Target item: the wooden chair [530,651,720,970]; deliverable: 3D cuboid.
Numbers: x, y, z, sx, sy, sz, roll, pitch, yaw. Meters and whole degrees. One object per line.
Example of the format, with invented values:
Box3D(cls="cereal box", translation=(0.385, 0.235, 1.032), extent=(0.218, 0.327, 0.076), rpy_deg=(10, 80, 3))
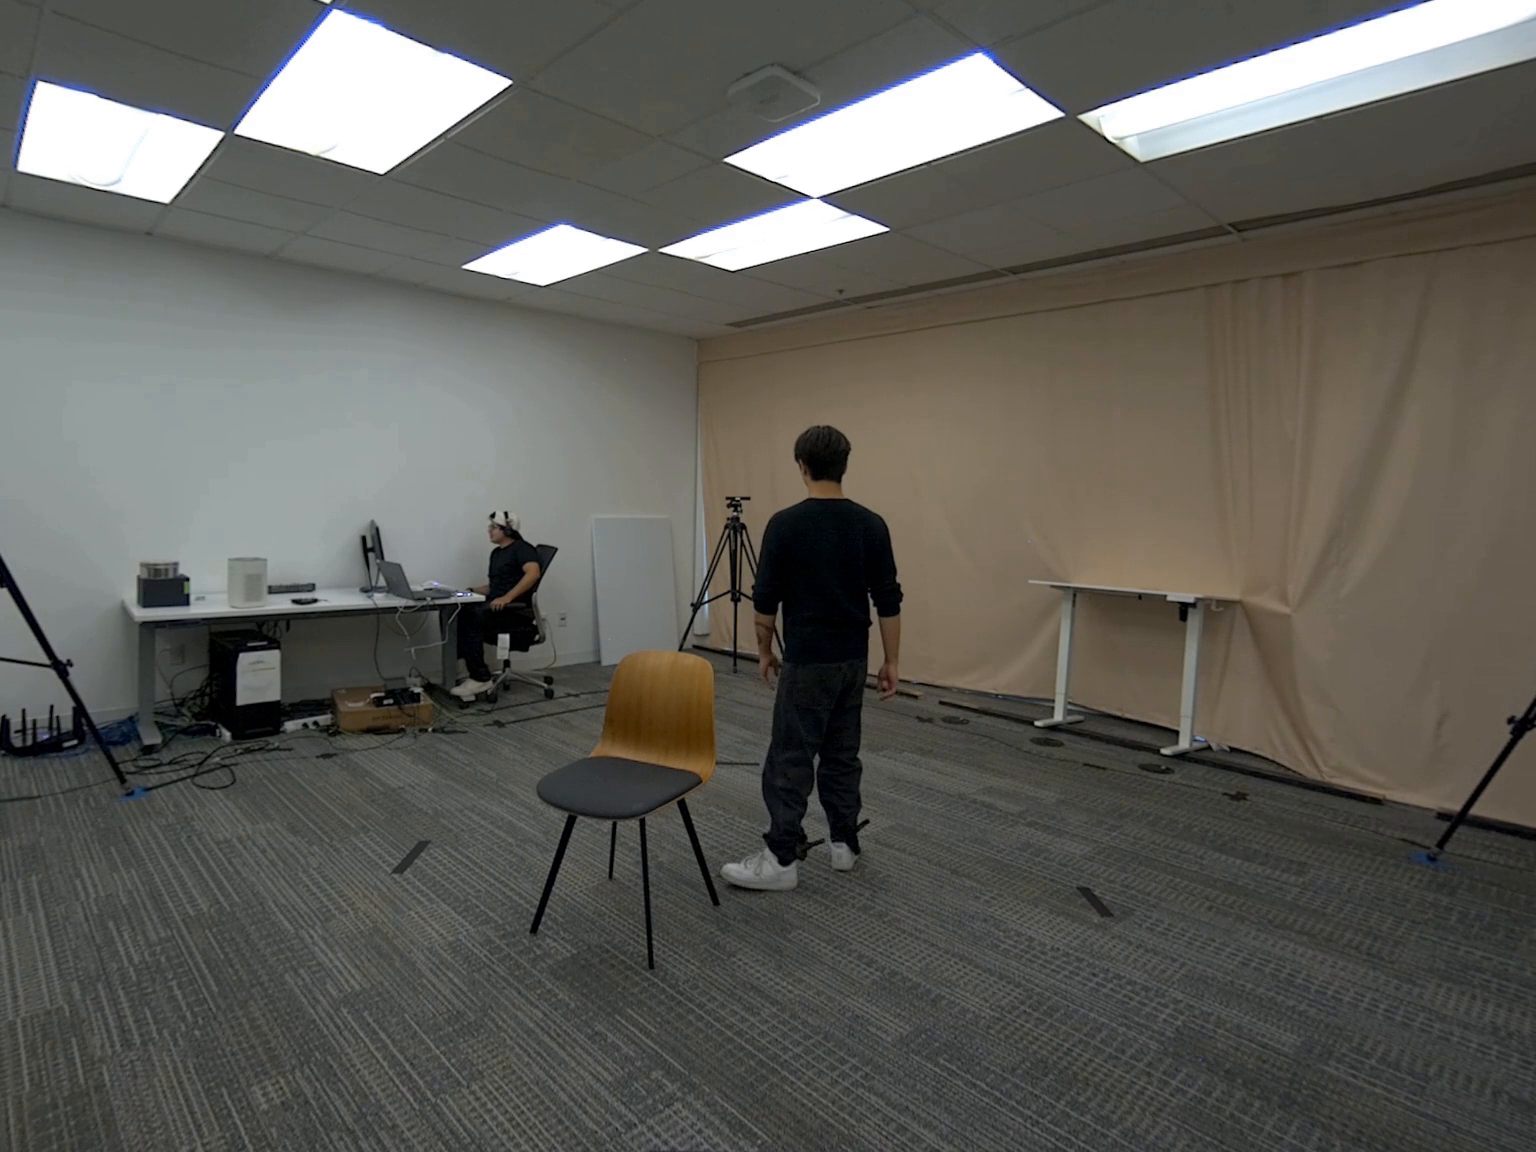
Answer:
Box3D(cls="wooden chair", translation=(-0.452, 0.706, 2.729), extent=(0.487, 0.878, 0.513), rpy_deg=(3, 0, 24))
